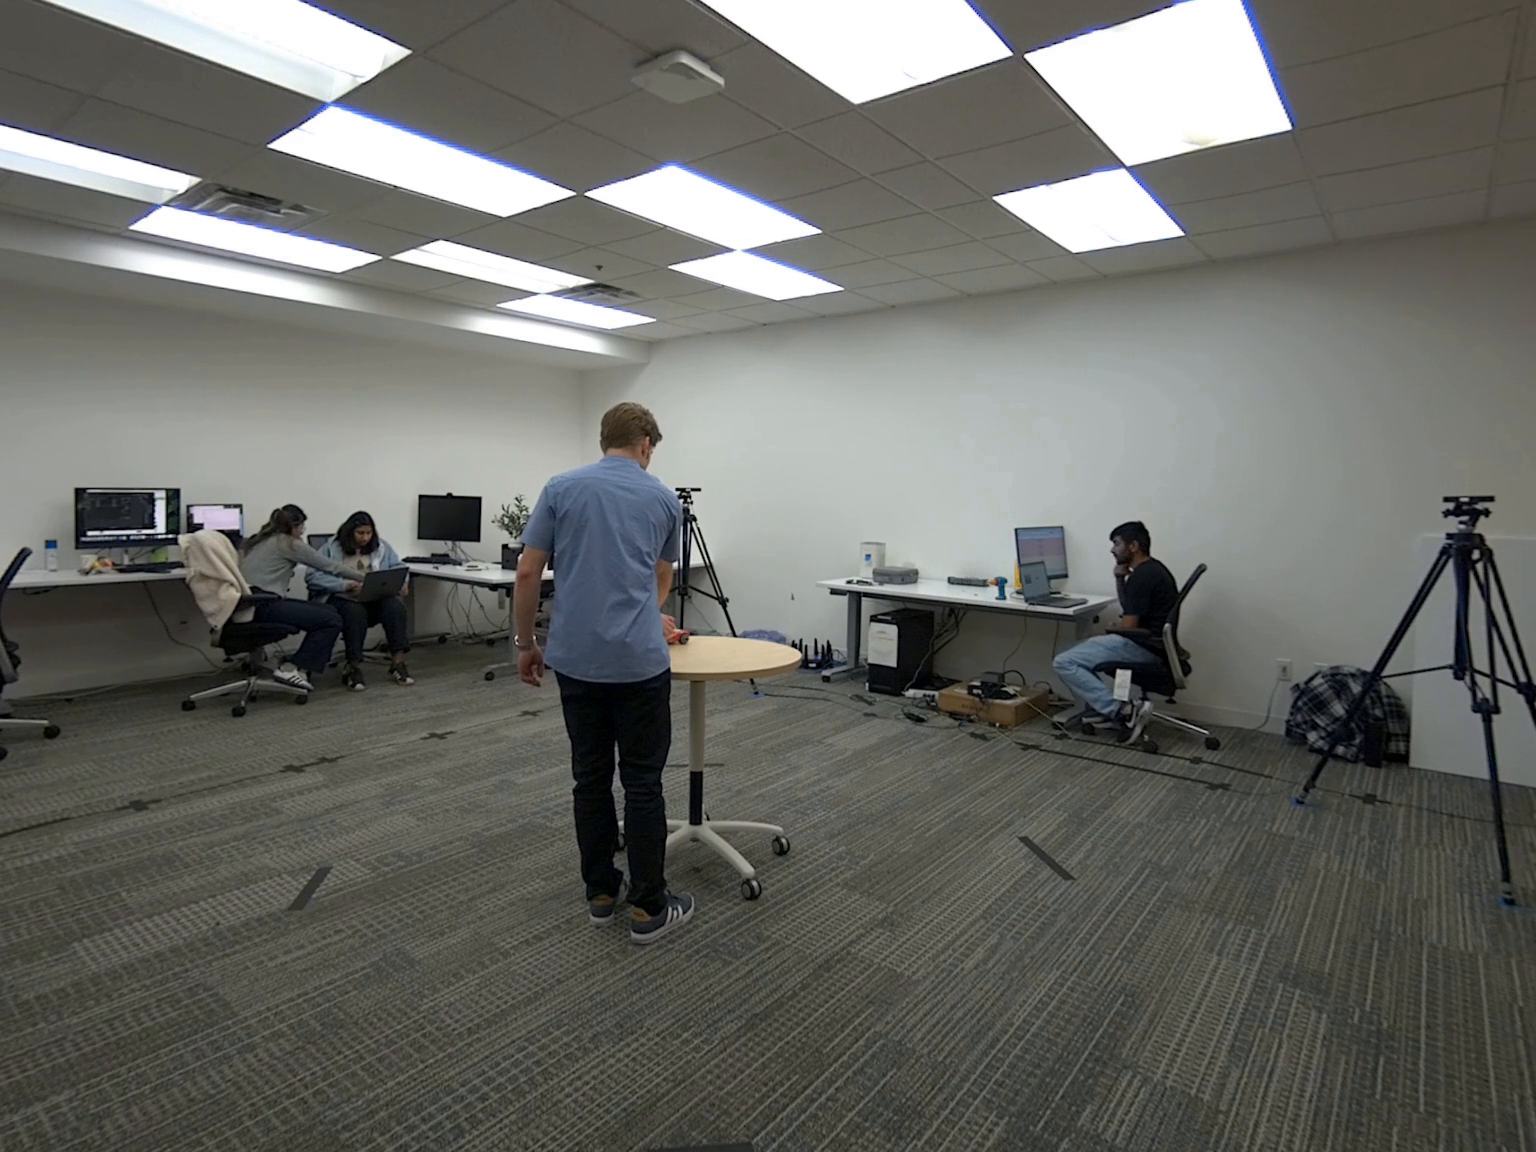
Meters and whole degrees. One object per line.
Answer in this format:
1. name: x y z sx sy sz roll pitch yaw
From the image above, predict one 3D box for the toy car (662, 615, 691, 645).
1. toy car: -0.442 0.233 3.307 0.245 0.083 0.135 11 -4 -41
